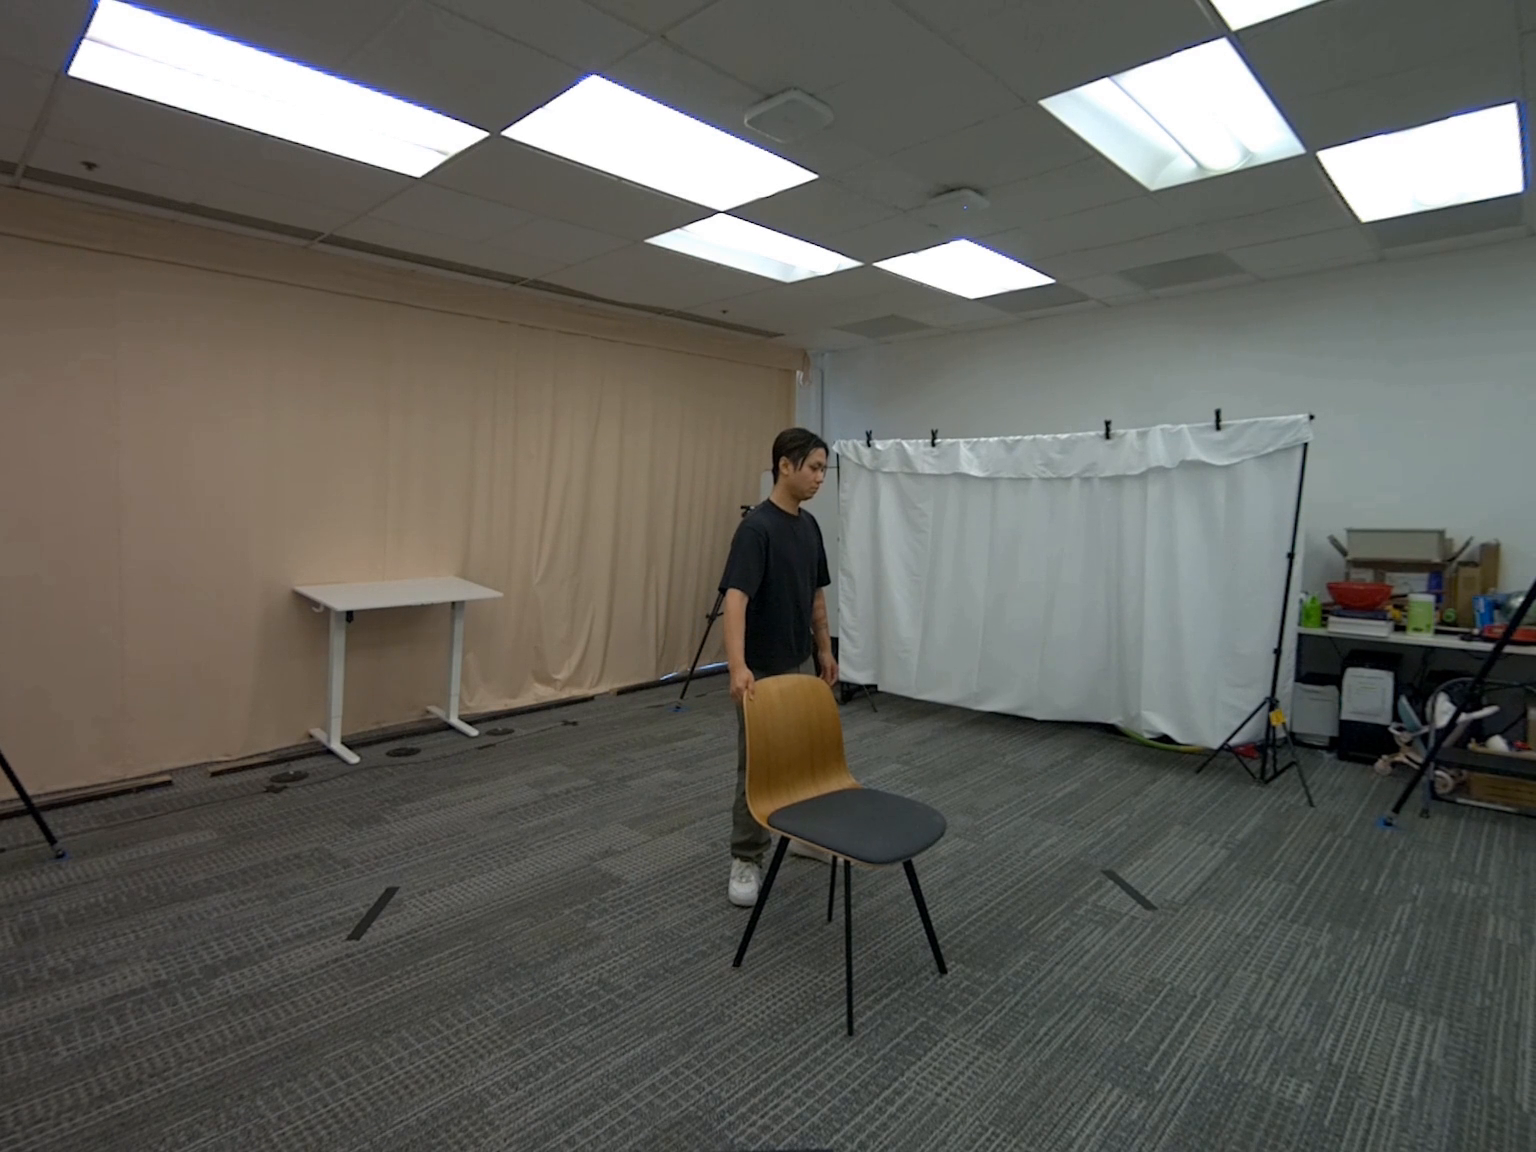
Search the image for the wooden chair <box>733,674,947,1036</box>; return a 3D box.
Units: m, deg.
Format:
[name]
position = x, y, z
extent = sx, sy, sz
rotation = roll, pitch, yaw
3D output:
[wooden chair]
position = 0.220, 0.753, 2.486
extent = 0.463, 0.877, 0.539
rotation = -3, 0, -44
